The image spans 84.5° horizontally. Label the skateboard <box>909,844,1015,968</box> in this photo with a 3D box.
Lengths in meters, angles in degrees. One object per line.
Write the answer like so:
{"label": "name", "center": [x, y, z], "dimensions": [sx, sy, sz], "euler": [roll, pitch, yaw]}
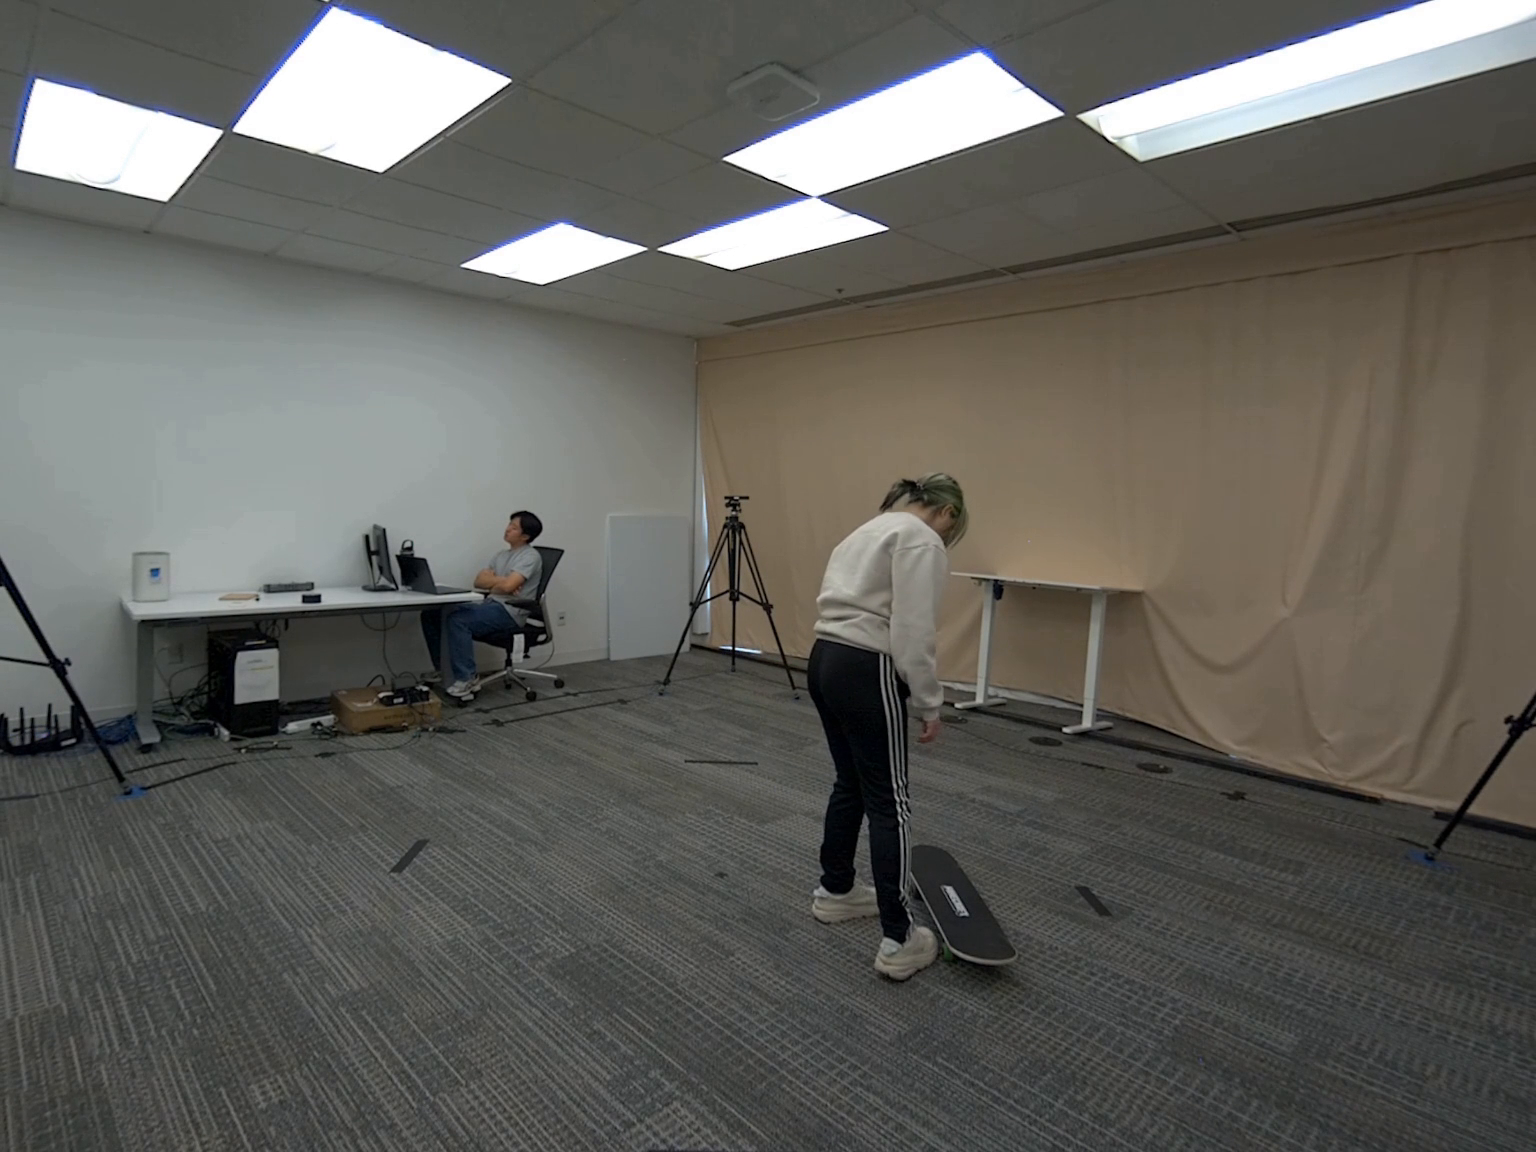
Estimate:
{"label": "skateboard", "center": [0.603, 1.095, 2.771], "dimensions": [0.193, 0.110, 0.789], "euler": [3, 5, -4]}
